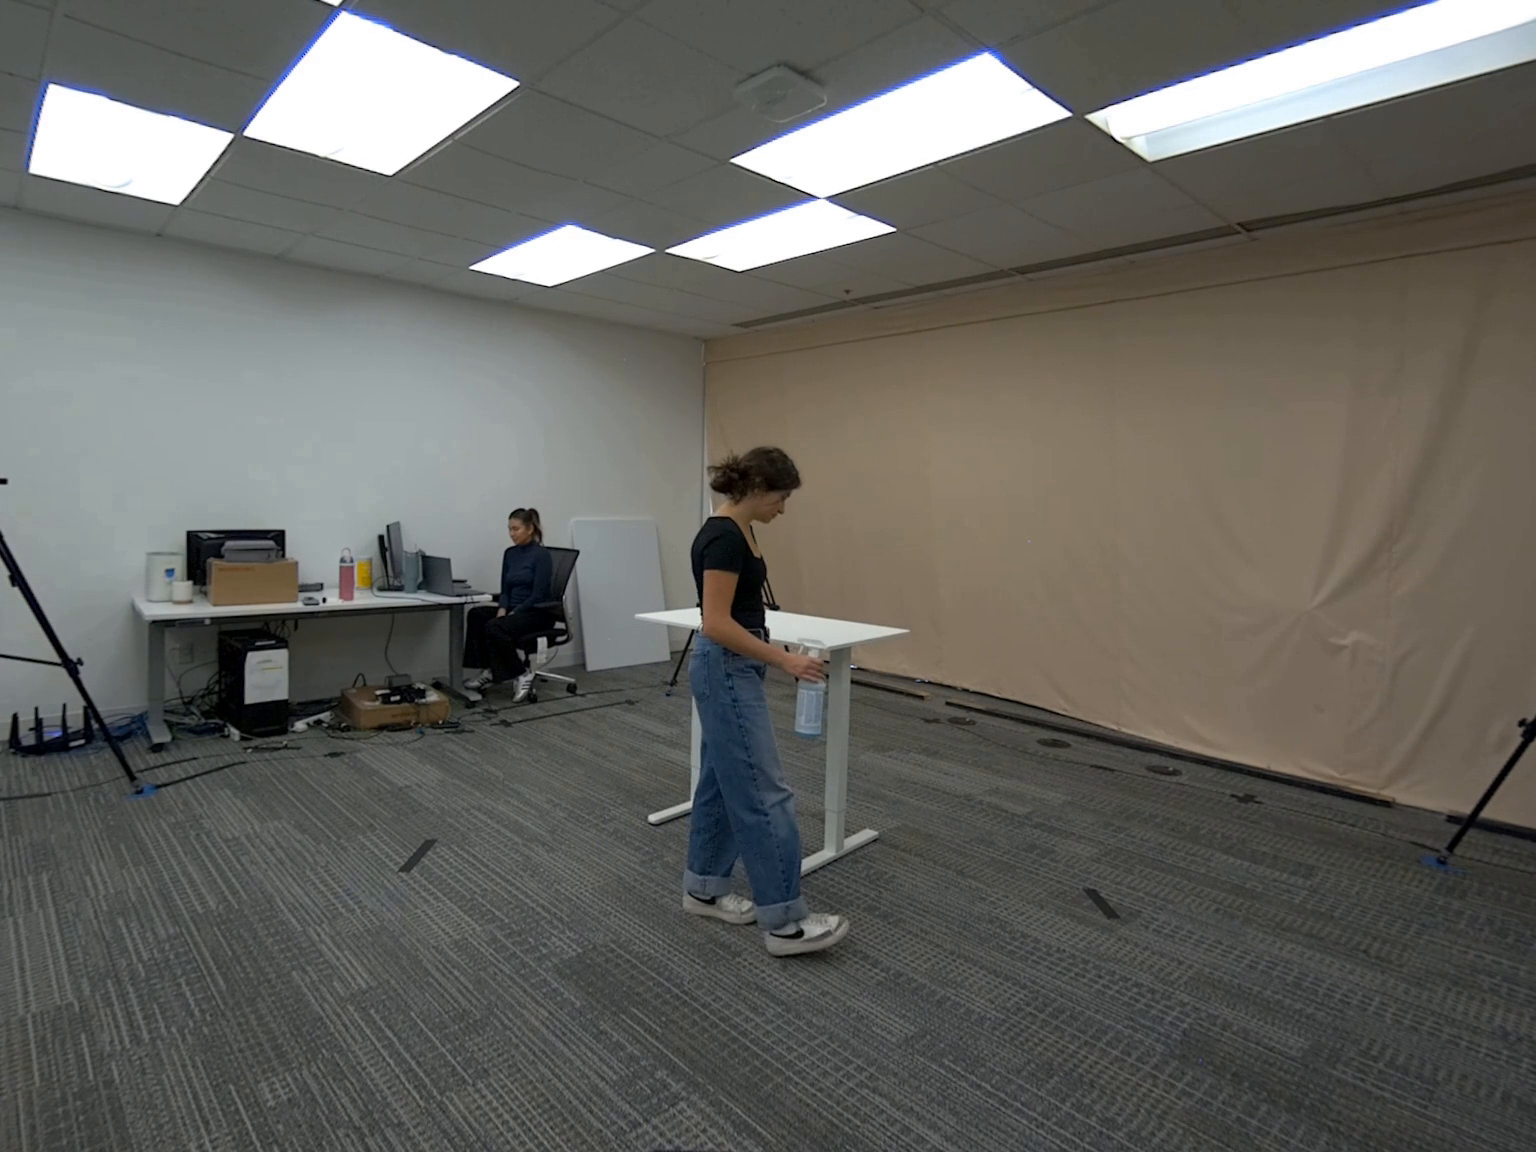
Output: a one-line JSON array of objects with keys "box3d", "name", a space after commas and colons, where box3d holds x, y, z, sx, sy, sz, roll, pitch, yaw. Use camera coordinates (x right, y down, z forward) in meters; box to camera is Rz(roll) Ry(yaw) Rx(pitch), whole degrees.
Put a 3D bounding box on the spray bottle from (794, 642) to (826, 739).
[{"box3d": [0.120, 0.341, 2.540, 0.092, 0.298, 0.085, 0, -3, 25], "name": "spray bottle"}]
